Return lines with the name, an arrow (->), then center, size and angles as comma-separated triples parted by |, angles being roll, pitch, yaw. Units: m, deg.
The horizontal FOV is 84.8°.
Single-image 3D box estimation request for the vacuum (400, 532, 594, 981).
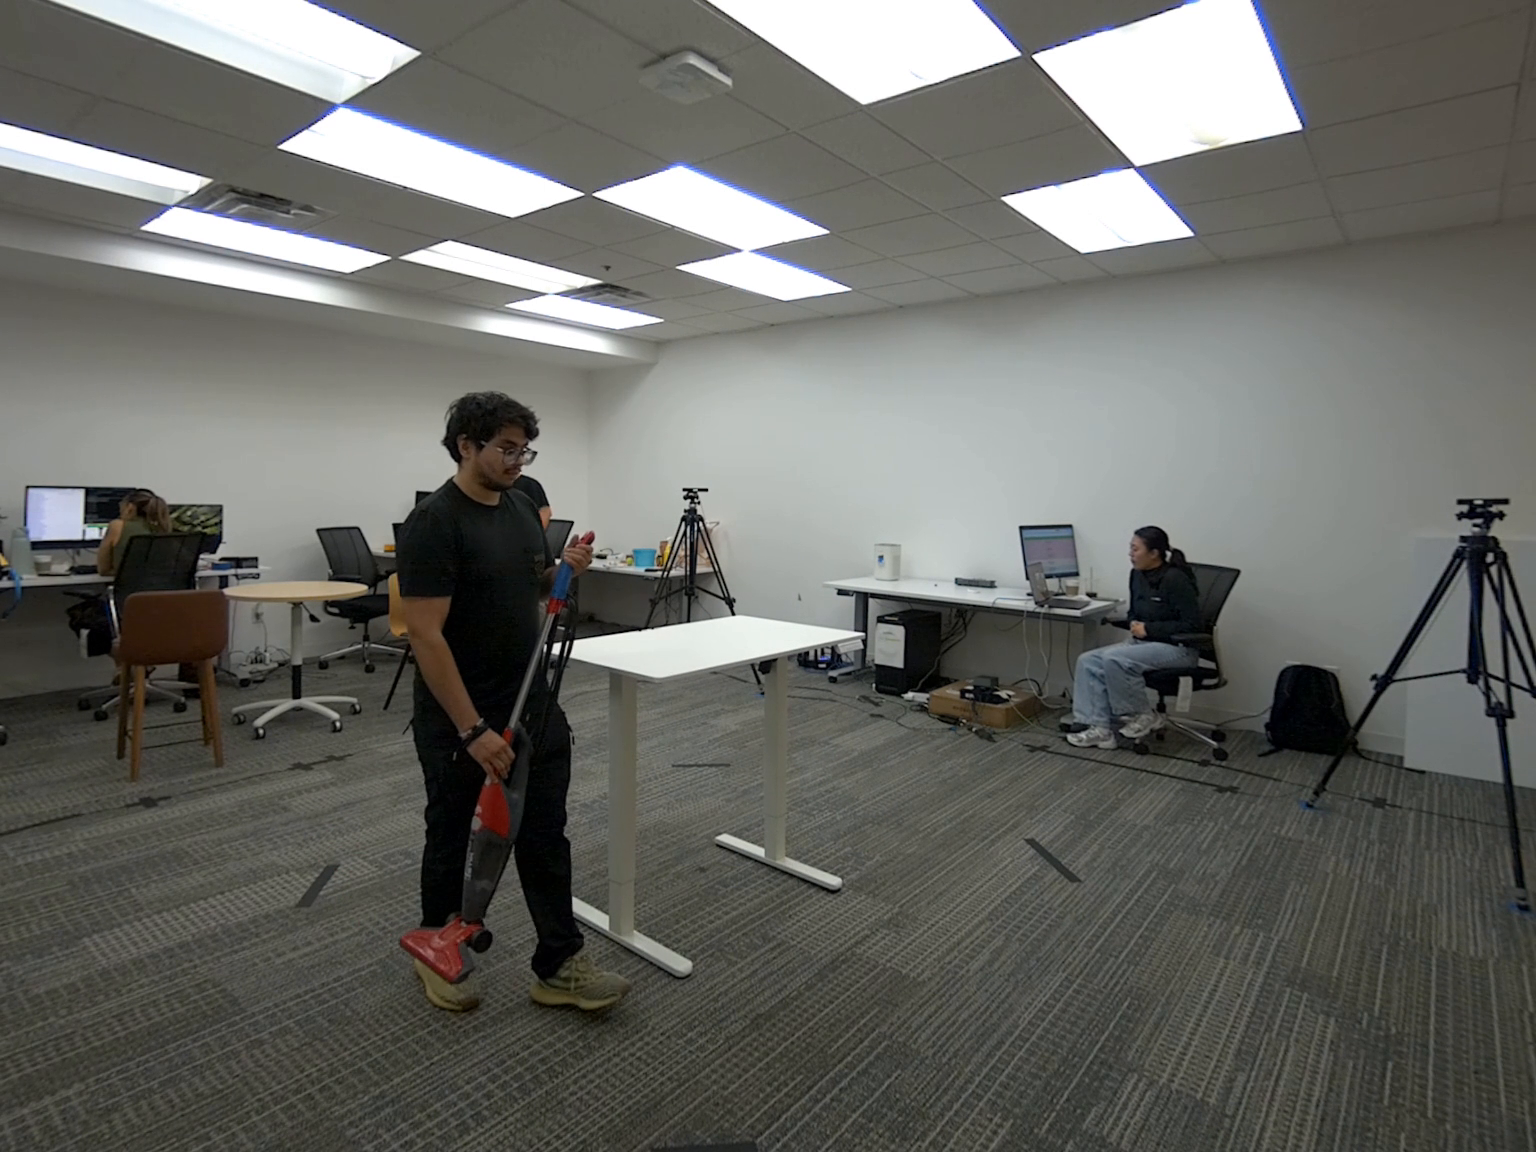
vacuum -> -0.617, 0.394, 2.117 | 0.261, 1.057, 0.138 | 5, -16, 41
